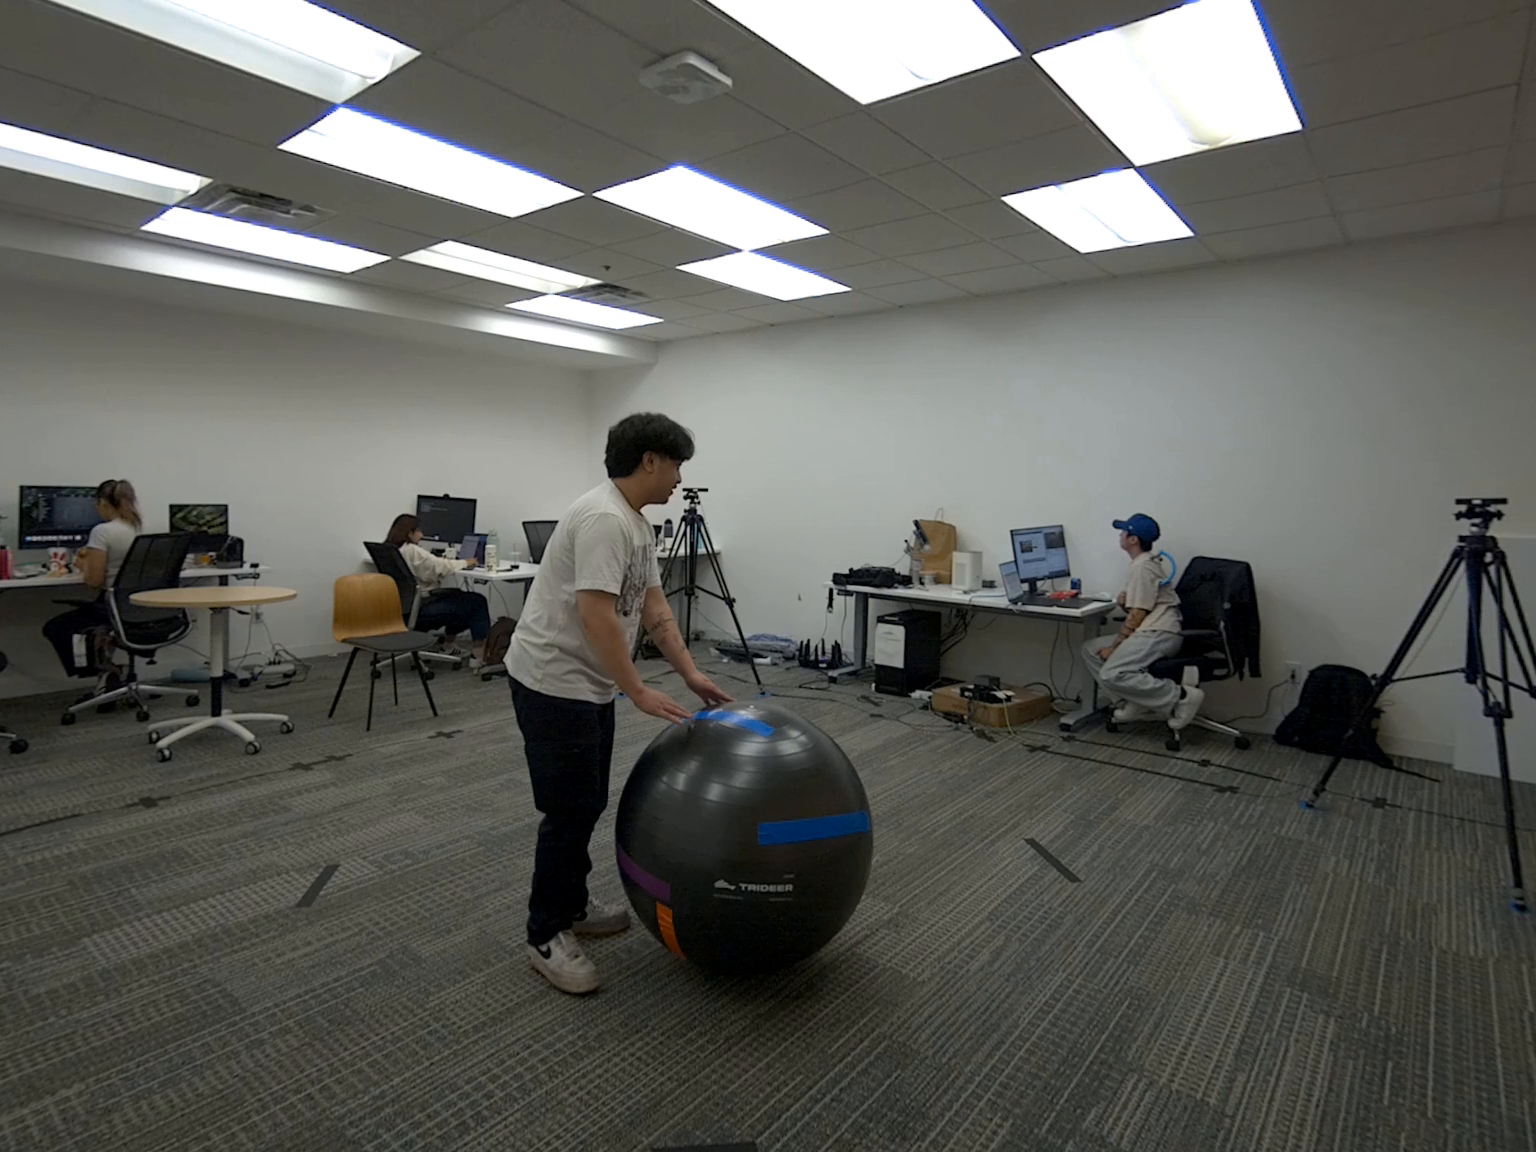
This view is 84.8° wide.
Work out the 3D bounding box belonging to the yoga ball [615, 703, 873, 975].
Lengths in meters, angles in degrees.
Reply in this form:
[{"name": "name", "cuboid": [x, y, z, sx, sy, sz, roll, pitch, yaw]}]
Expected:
[{"name": "yoga ball", "cuboid": [-0.072, 0.761, 2.504, 0.757, 0.755, 0.762, 1, 4, -2]}]
